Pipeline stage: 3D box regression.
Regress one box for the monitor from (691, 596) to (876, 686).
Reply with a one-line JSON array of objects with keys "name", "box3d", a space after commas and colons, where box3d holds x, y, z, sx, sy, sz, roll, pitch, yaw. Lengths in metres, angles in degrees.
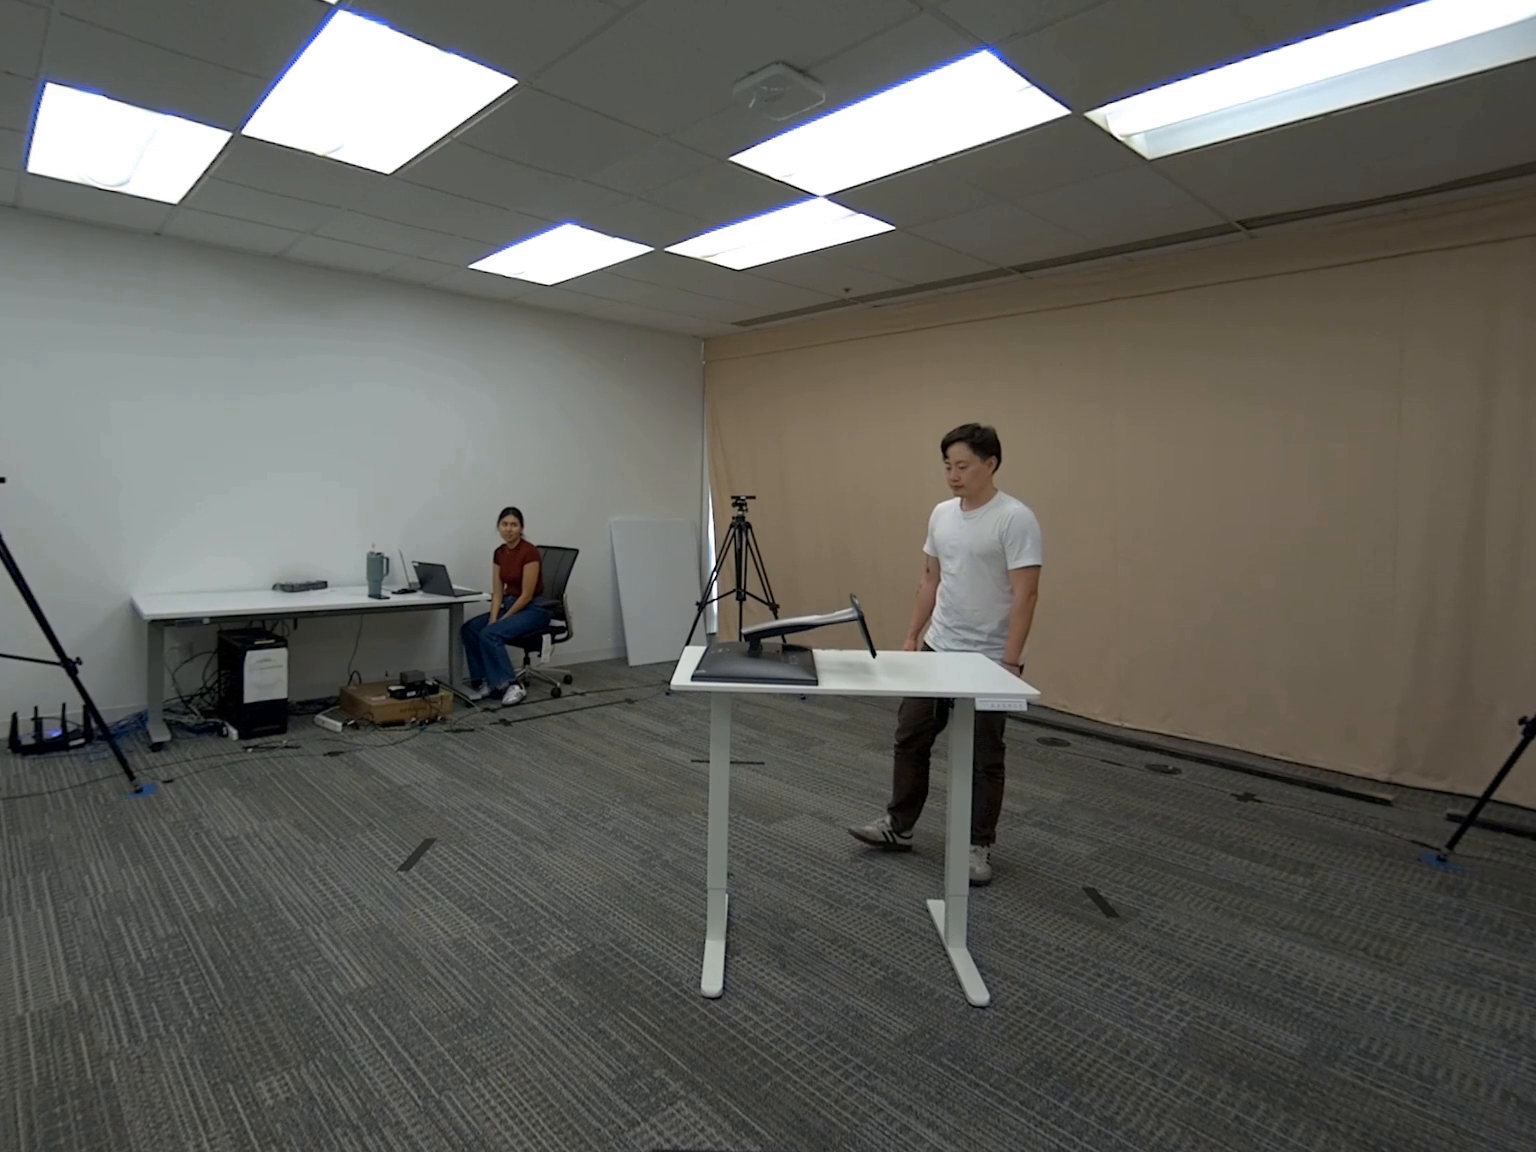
[{"name": "monitor", "box3d": [0.044, 0.216, 2.553, 0.524, 0.187, 0.538, -16, 3, 3]}]
